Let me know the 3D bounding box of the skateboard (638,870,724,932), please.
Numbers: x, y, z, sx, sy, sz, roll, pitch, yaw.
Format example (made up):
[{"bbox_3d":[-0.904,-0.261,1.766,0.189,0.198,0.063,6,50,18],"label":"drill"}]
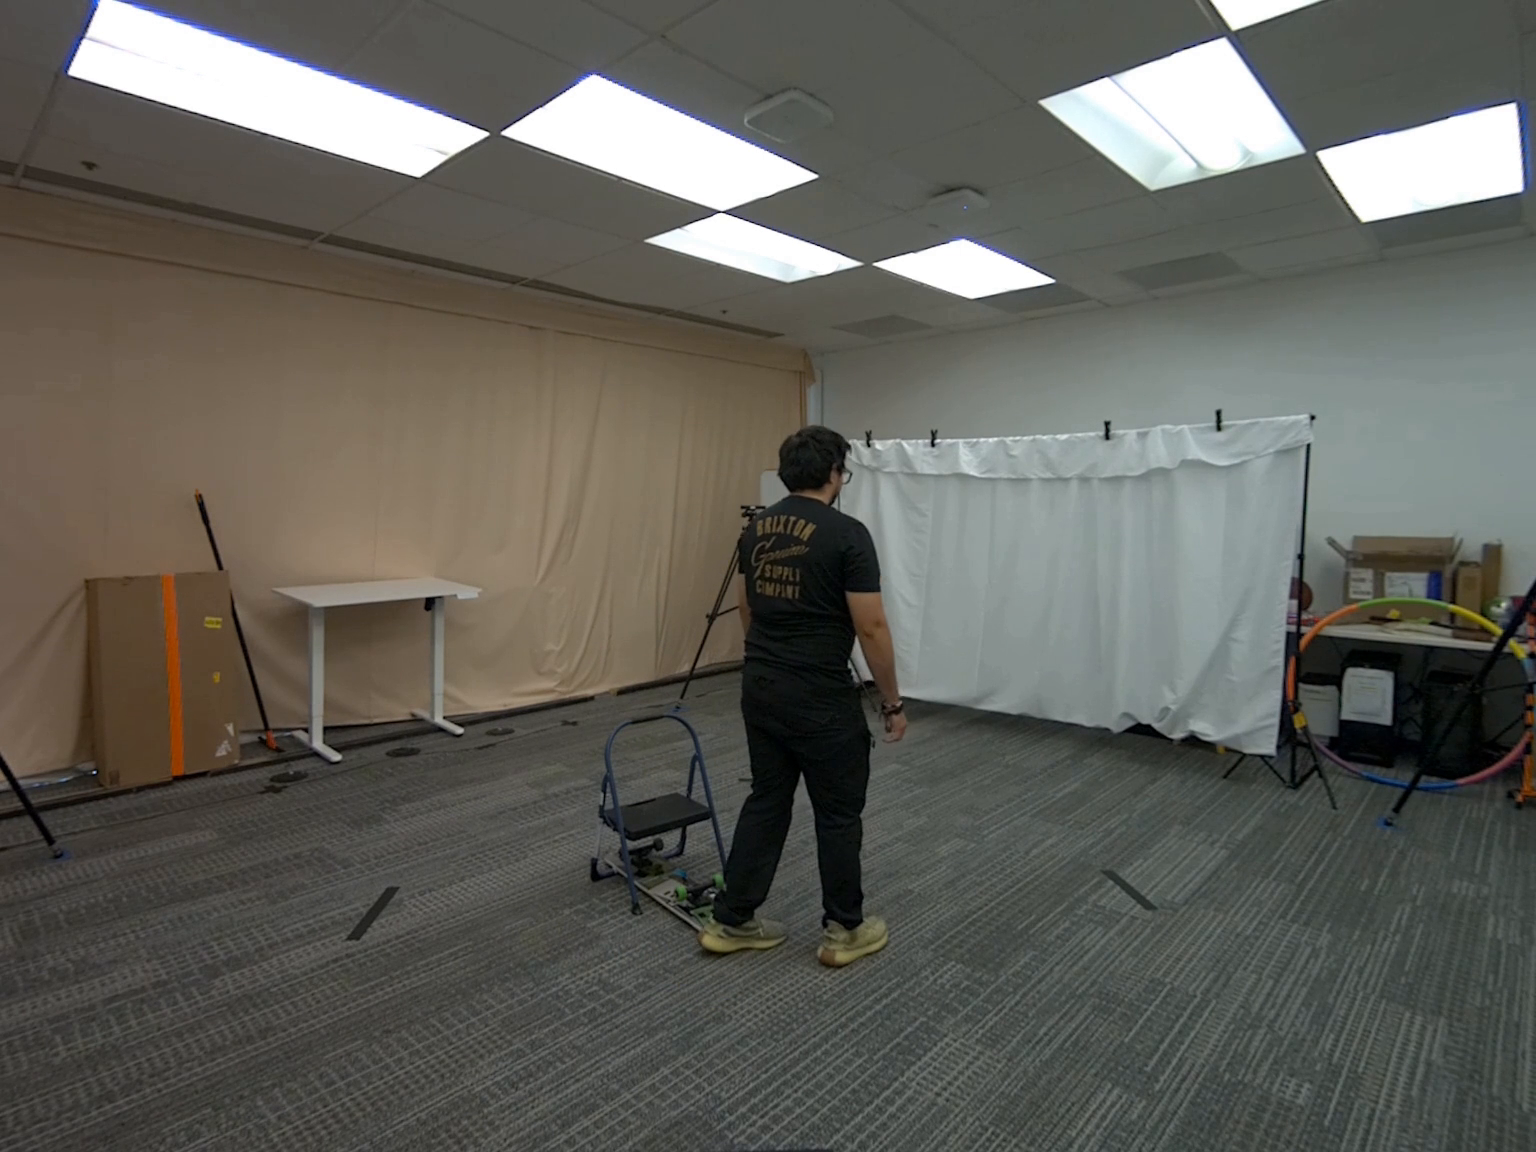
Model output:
[{"bbox_3d":[-0.368,1.093,3.040,0.187,0.110,0.811,-1,5,-38],"label":"skateboard"}]
